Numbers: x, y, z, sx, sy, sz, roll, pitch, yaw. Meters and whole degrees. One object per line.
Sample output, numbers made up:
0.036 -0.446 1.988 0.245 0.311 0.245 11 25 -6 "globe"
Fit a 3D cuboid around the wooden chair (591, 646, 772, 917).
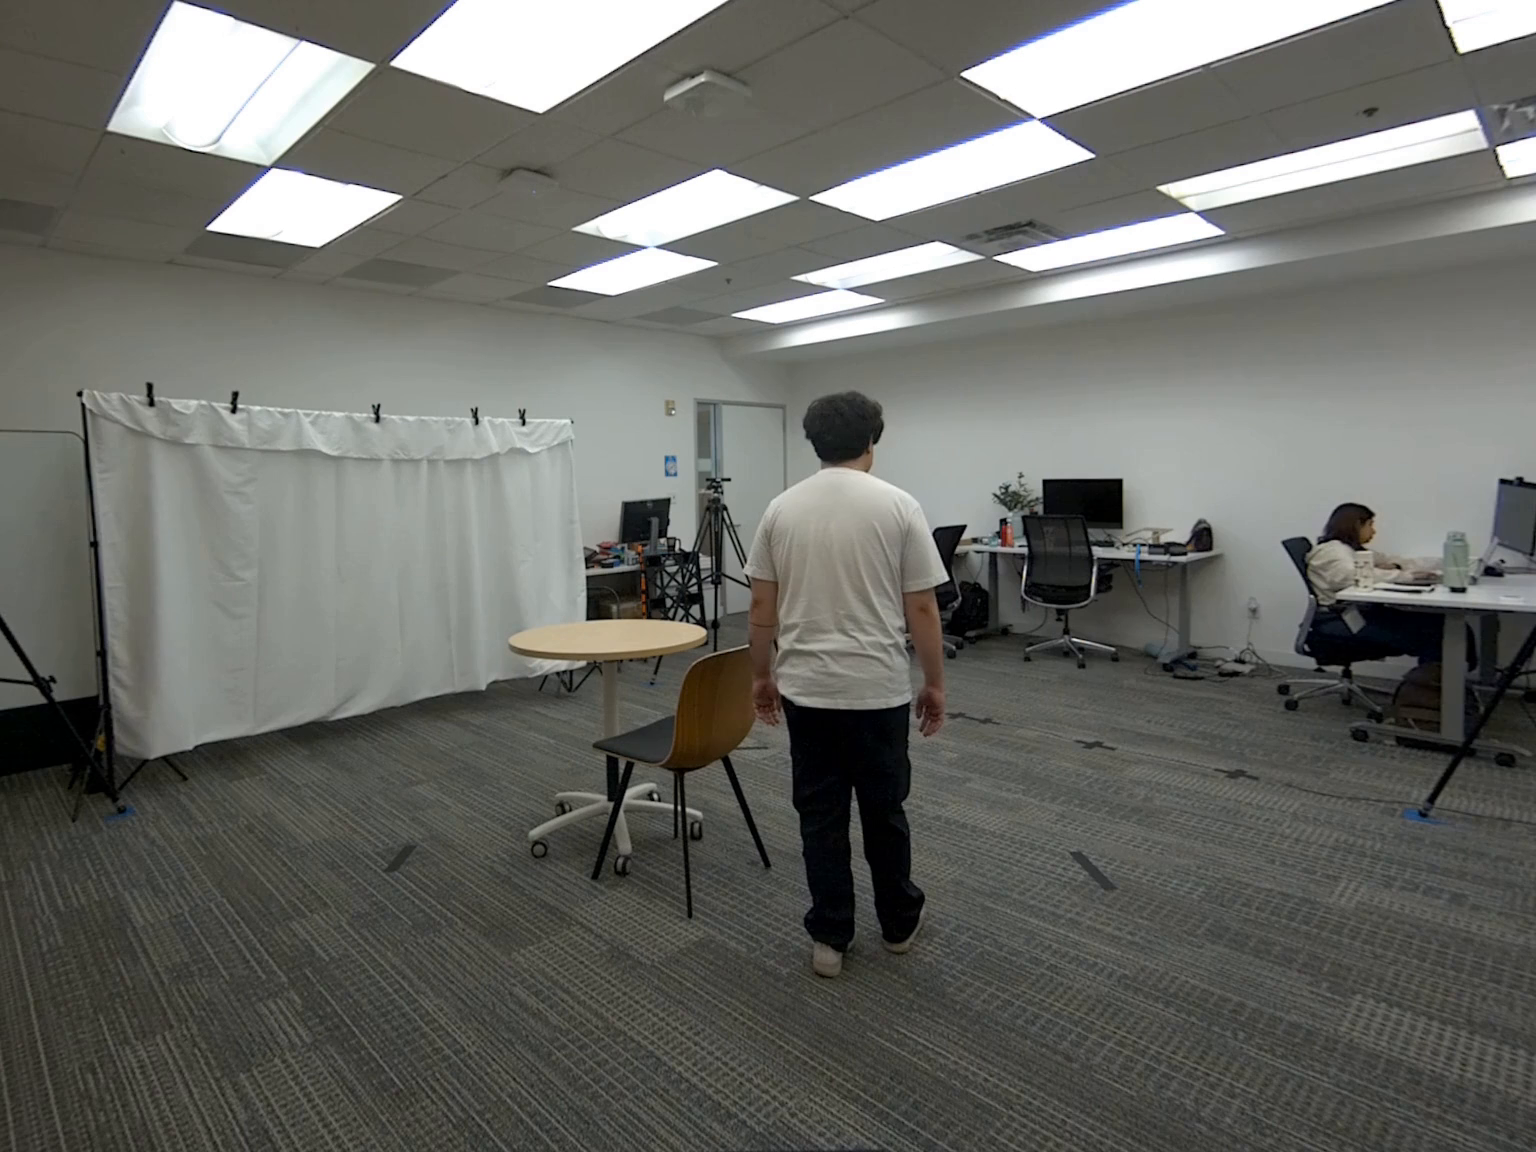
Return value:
-0.312 0.631 3.002 0.539 0.872 0.466 7 9 37 "wooden chair"
